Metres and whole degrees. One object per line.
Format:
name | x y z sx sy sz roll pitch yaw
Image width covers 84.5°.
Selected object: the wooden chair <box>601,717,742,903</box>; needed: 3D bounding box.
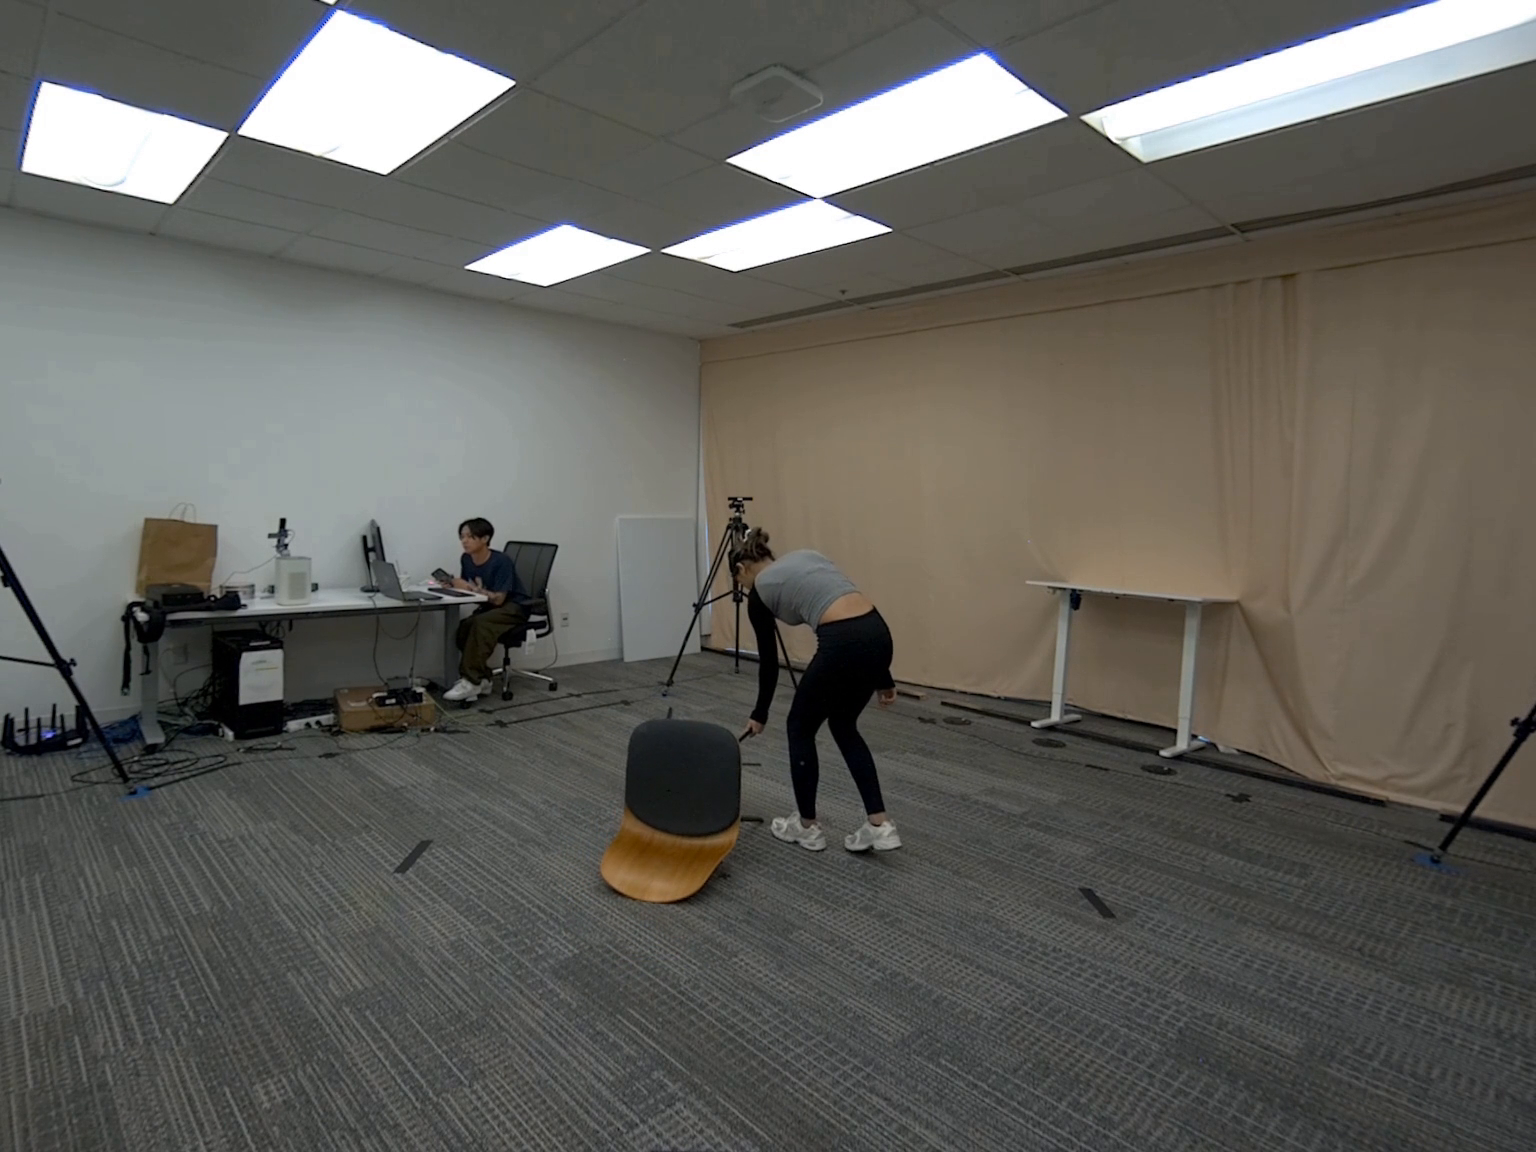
wooden chair | -0.332 0.828 3.298 0.484 0.521 0.870 3 5 14
